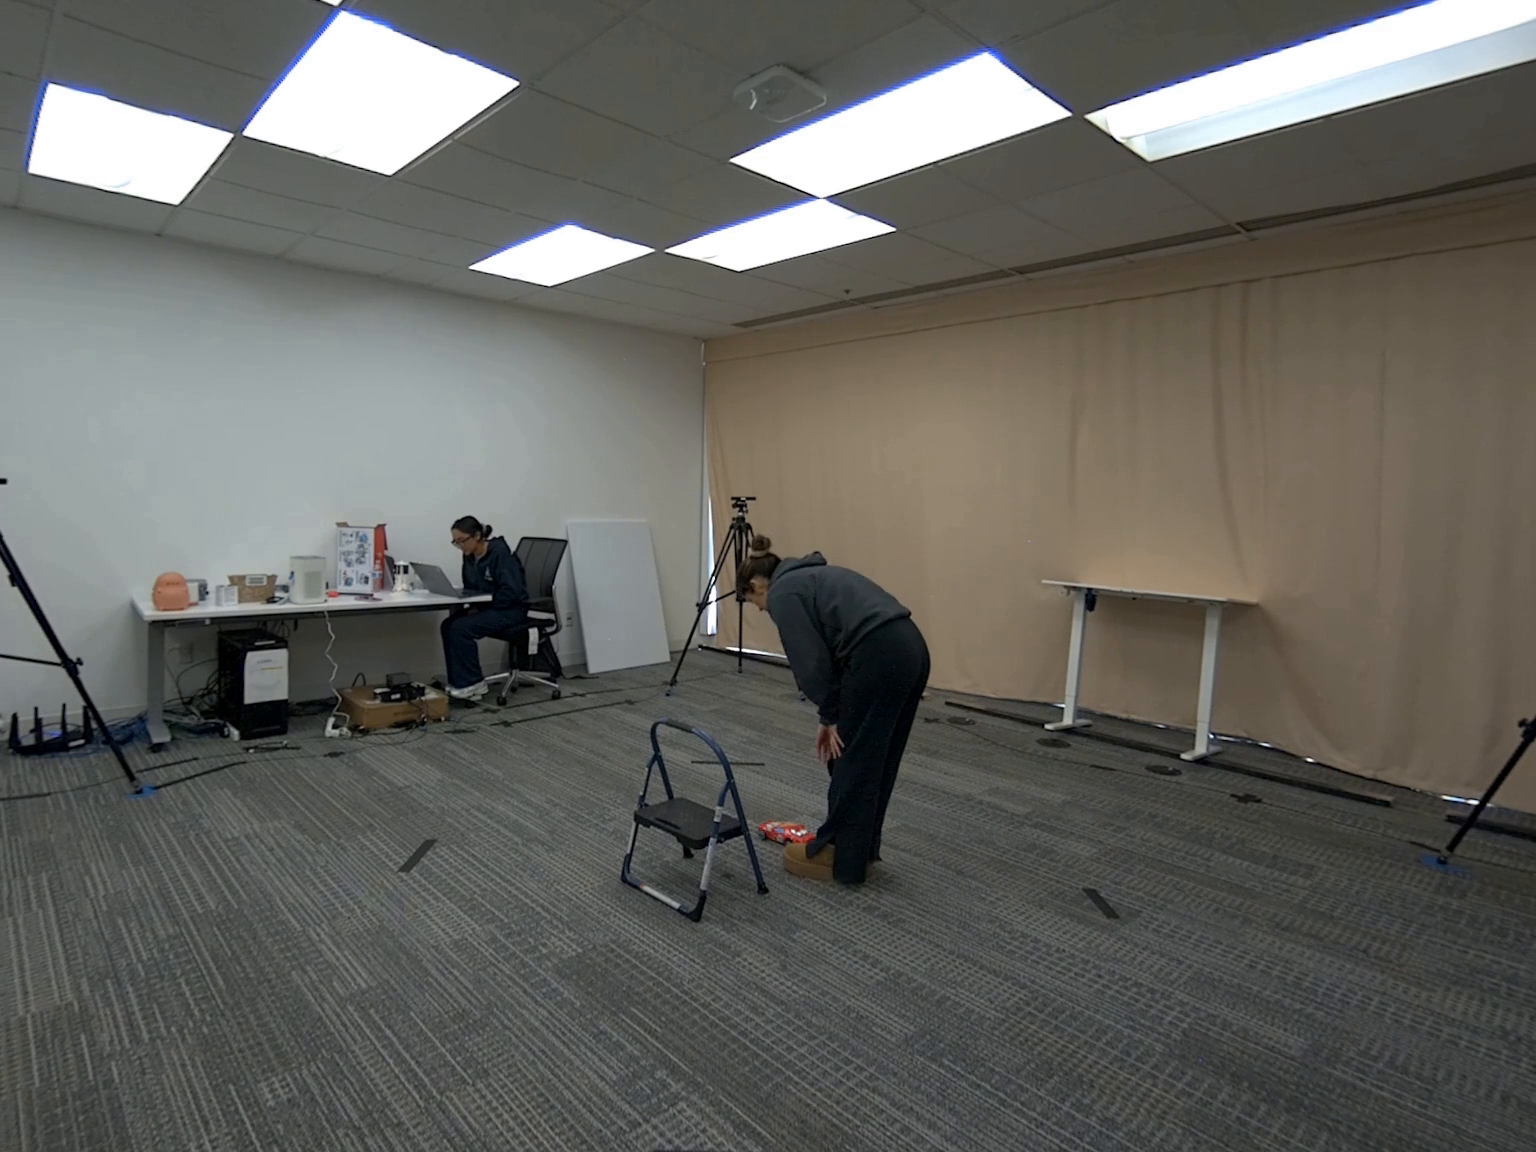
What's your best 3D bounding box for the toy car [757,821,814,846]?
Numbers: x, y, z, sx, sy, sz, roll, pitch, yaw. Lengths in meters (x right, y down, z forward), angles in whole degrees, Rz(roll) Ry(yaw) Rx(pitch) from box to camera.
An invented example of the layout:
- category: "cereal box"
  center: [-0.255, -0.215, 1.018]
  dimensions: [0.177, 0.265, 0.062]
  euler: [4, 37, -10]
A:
- category: "toy car"
  center: [0.073, 1.050, 3.427]
  dimensions: [0.259, 0.083, 0.127]
  euler: [-10, -6, 43]
